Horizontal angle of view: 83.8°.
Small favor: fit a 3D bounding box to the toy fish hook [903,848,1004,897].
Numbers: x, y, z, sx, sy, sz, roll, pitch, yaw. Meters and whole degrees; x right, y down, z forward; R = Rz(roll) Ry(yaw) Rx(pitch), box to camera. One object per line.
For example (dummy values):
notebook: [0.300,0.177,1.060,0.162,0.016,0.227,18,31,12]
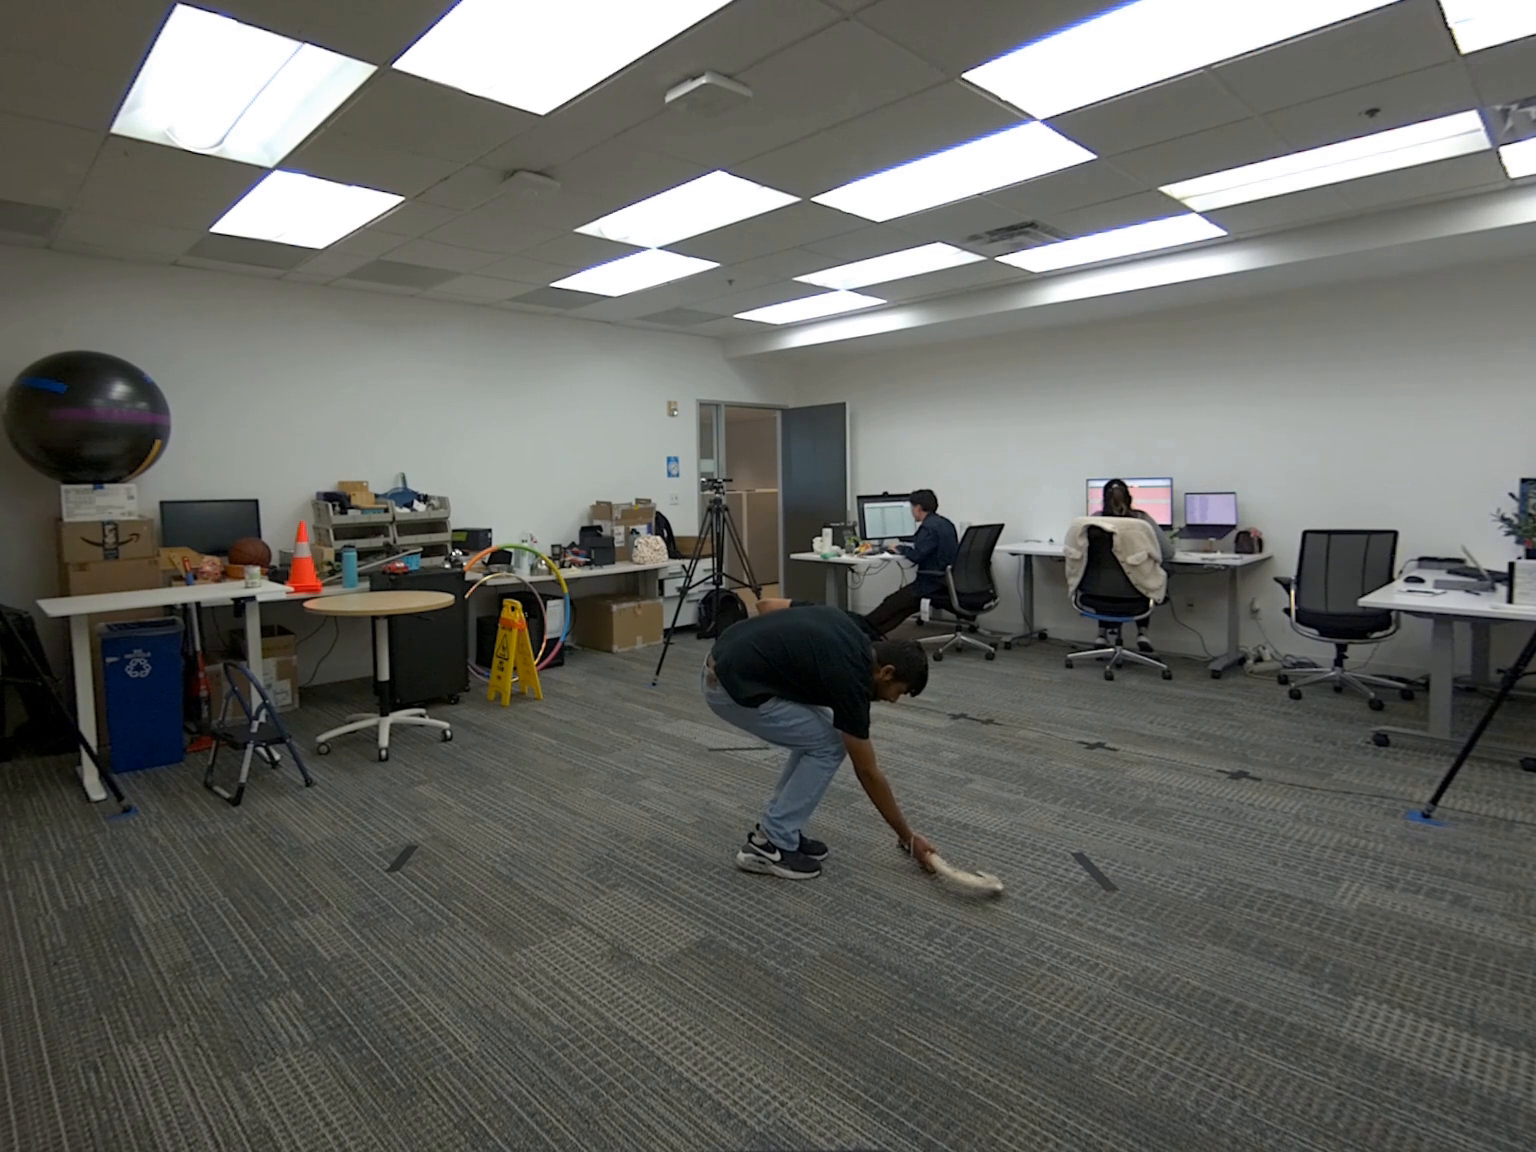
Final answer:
toy fish hook: [0.641,1.013,3.021,0.220,0.048,0.515,18,-3,-17]
